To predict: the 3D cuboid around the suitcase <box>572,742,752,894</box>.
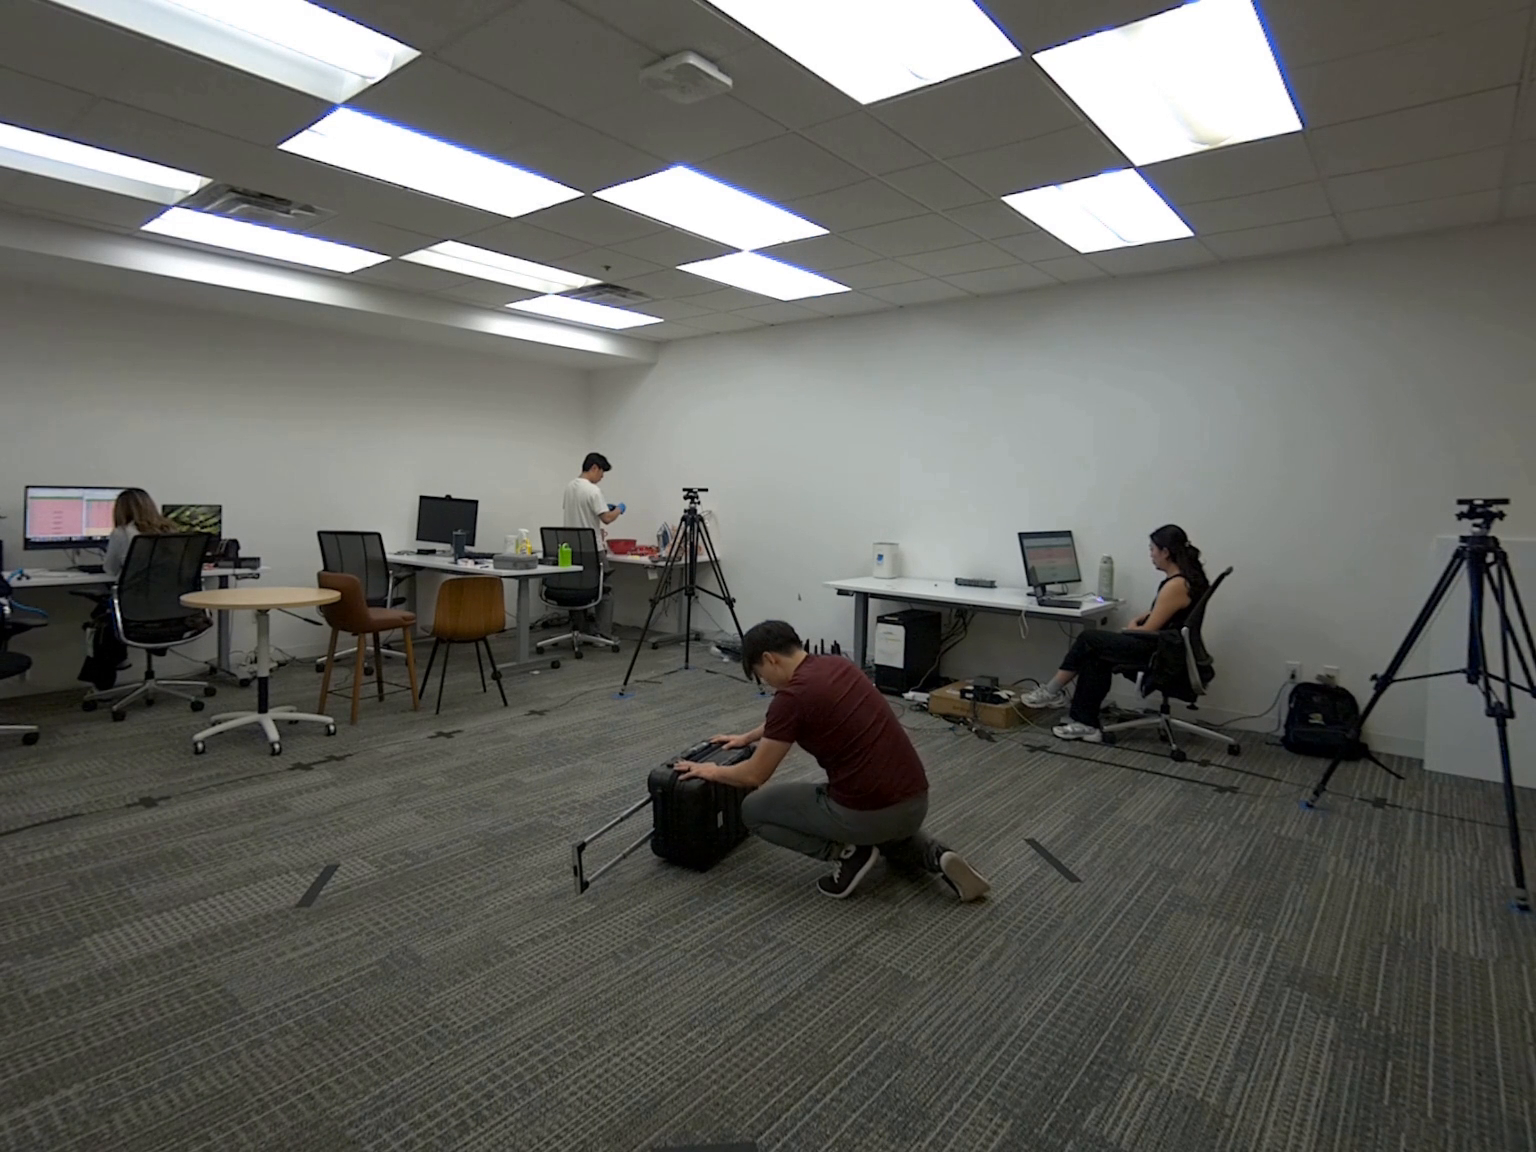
[{"bbox_3d":[-0.335,0.887,3.135,0.264,0.382,0.958,0,6,25],"label":"suitcase"}]
